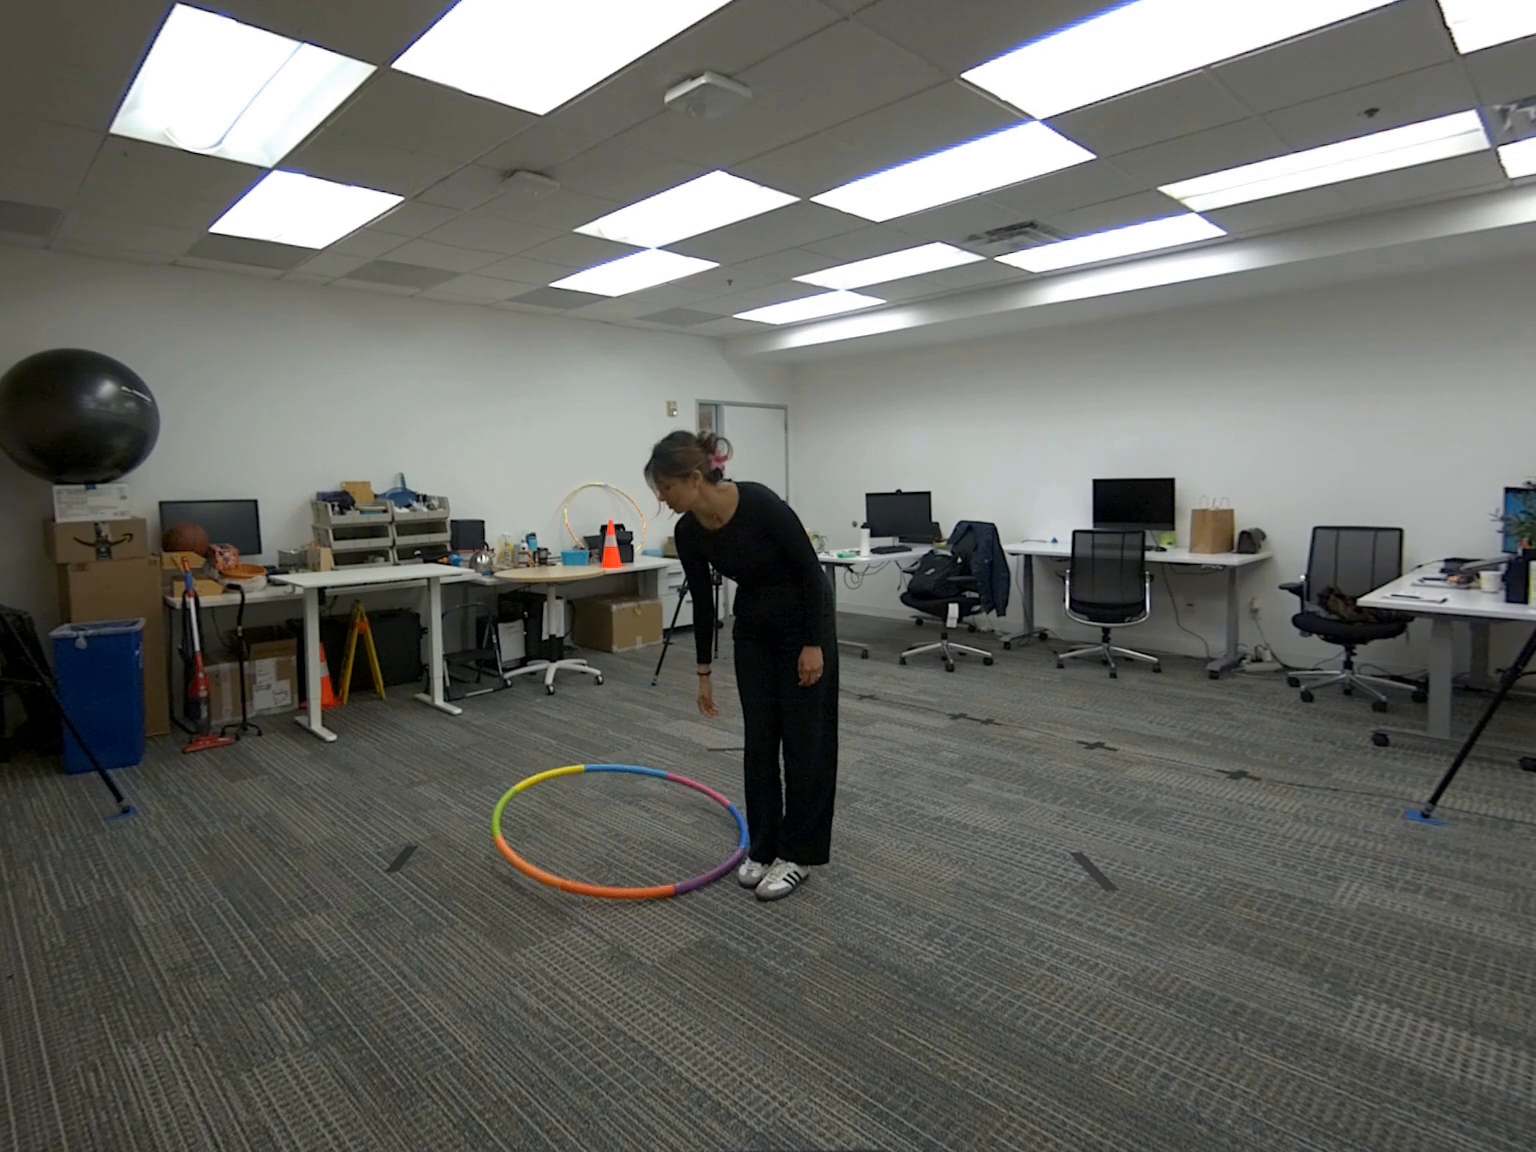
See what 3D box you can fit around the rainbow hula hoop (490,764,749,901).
[{"bbox_3d":[-0.556,0.947,3.295,0.984,0.051,0.994,5,10,-2],"label":"rainbow hula hoop"}]
